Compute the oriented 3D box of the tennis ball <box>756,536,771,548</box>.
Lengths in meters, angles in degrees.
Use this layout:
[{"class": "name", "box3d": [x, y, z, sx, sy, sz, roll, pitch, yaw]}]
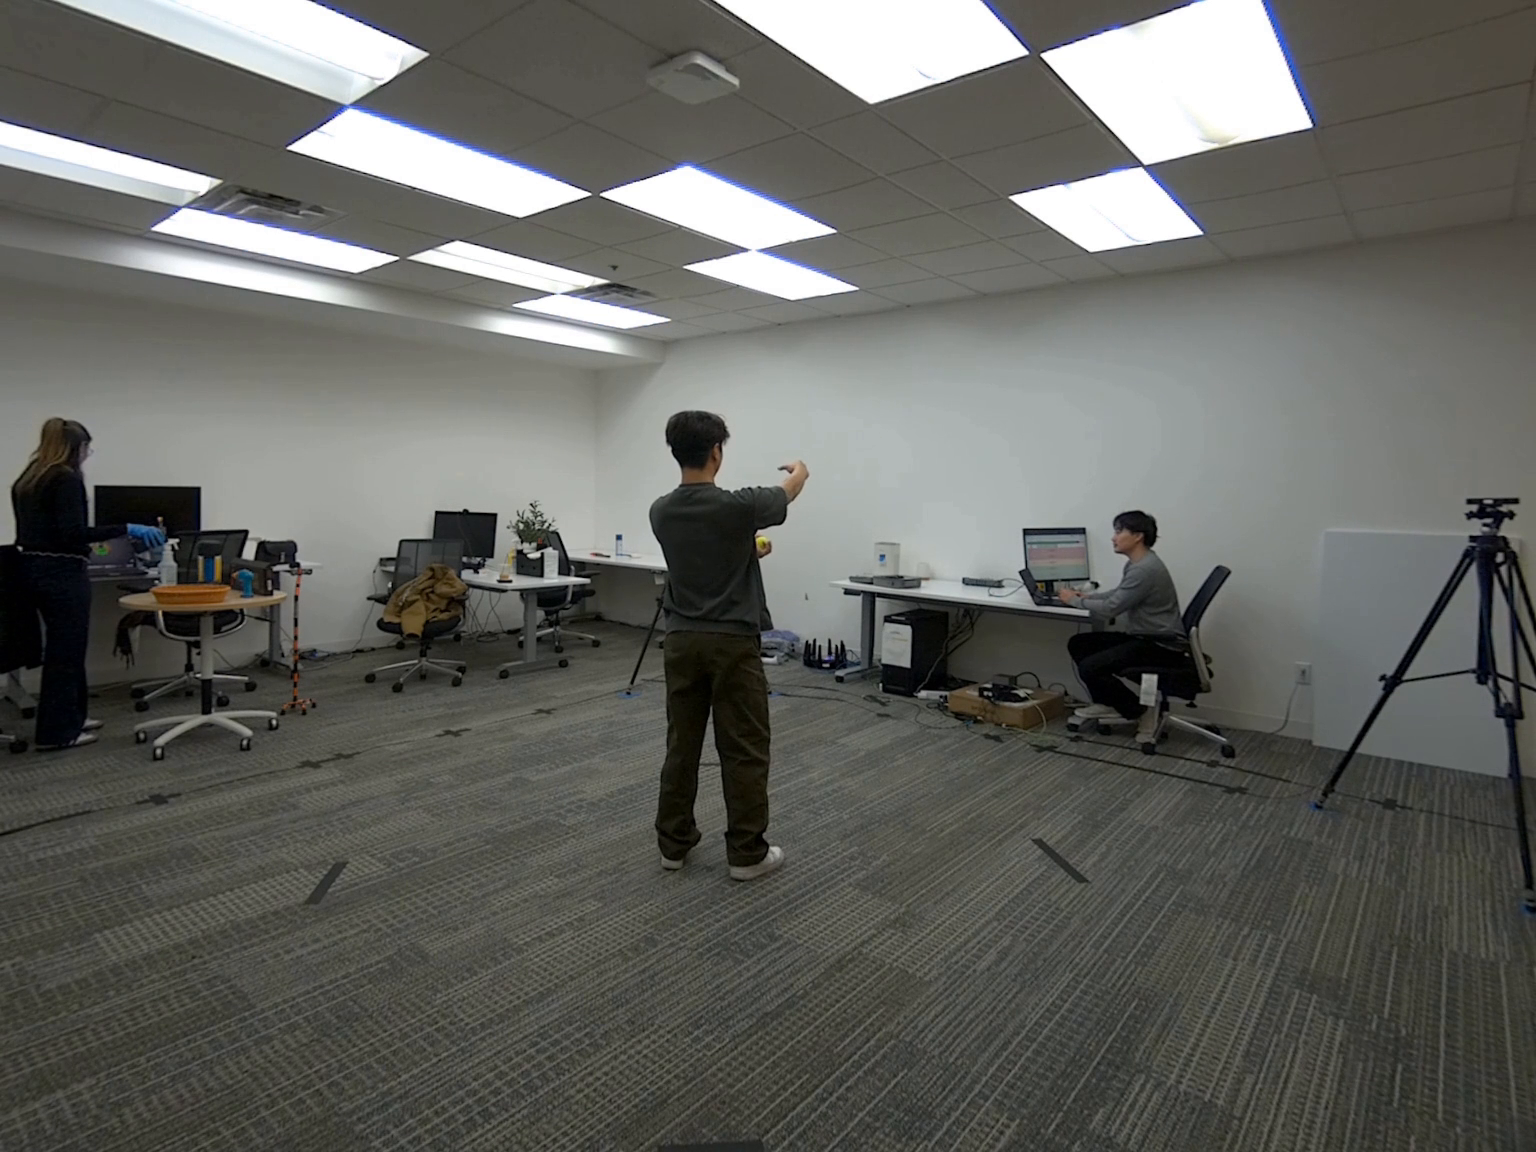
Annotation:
[{"class": "tennis ball", "box3d": [-0.043, -0.139, 3.580, 0.066, 0.066, 0.067, 1, 4, -2]}]
